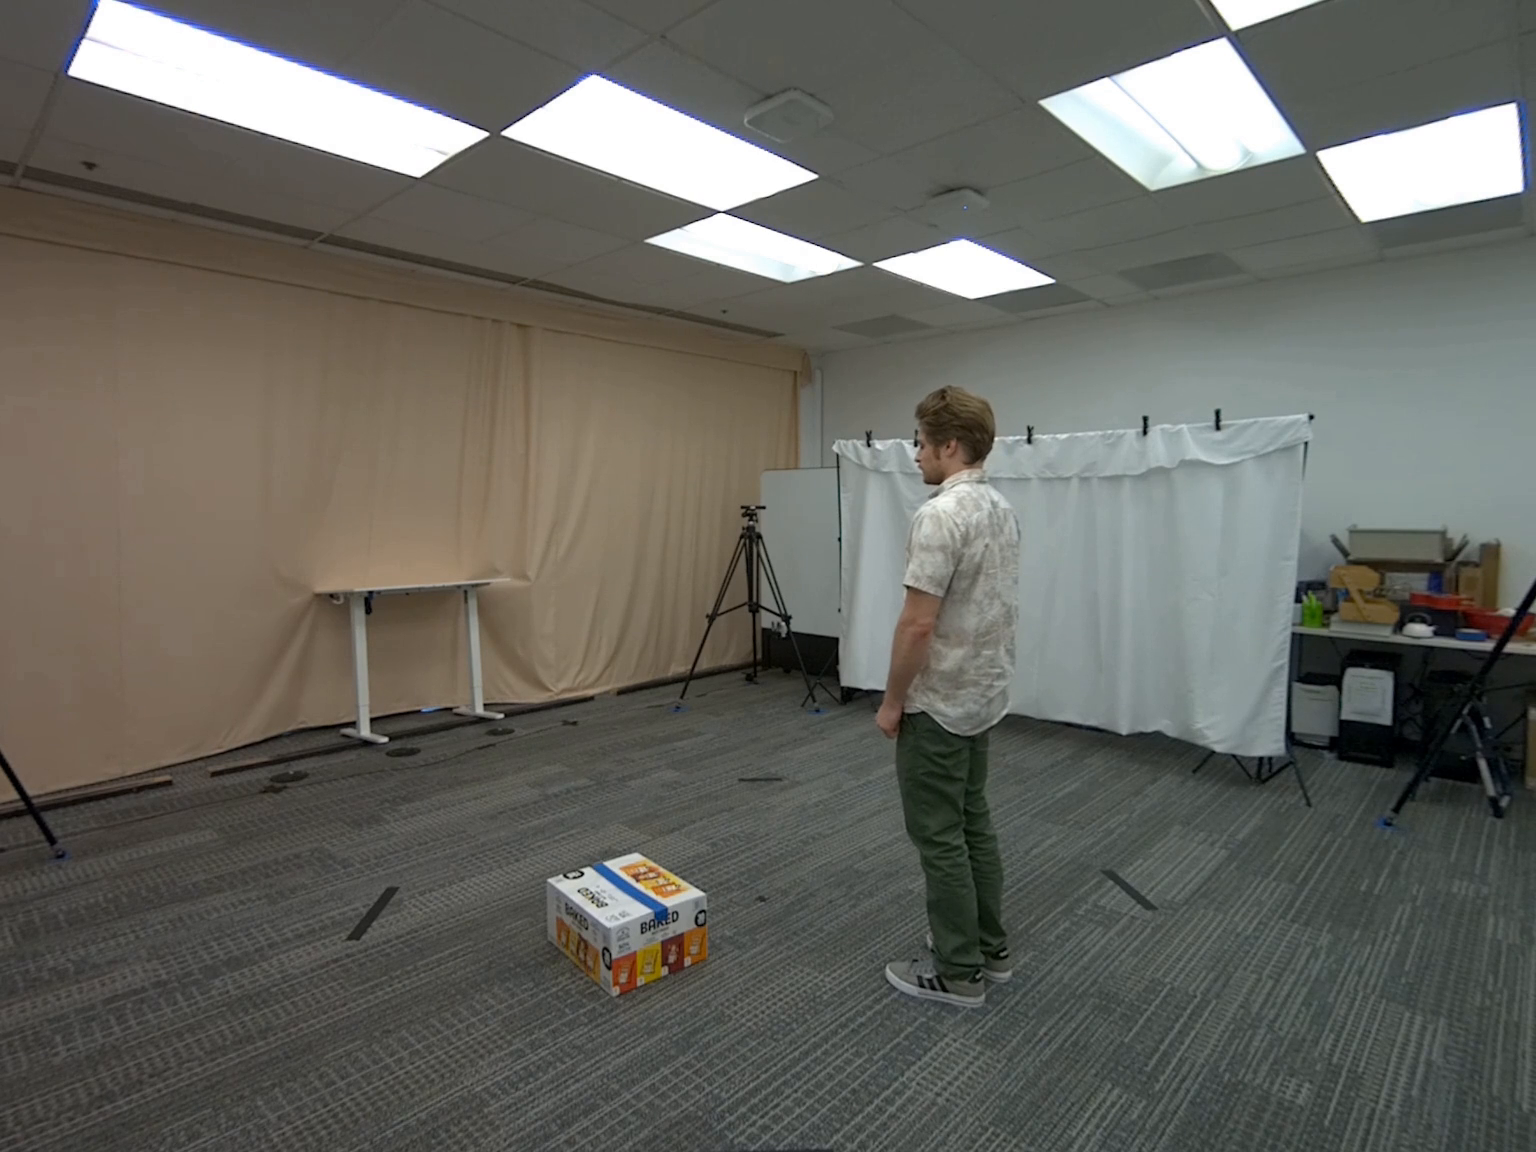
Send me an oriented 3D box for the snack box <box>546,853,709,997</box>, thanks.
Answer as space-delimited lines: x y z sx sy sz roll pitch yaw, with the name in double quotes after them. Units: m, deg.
-0.446 1.075 2.636 0.330 0.205 0.418 -4 5 -39 "snack box"
